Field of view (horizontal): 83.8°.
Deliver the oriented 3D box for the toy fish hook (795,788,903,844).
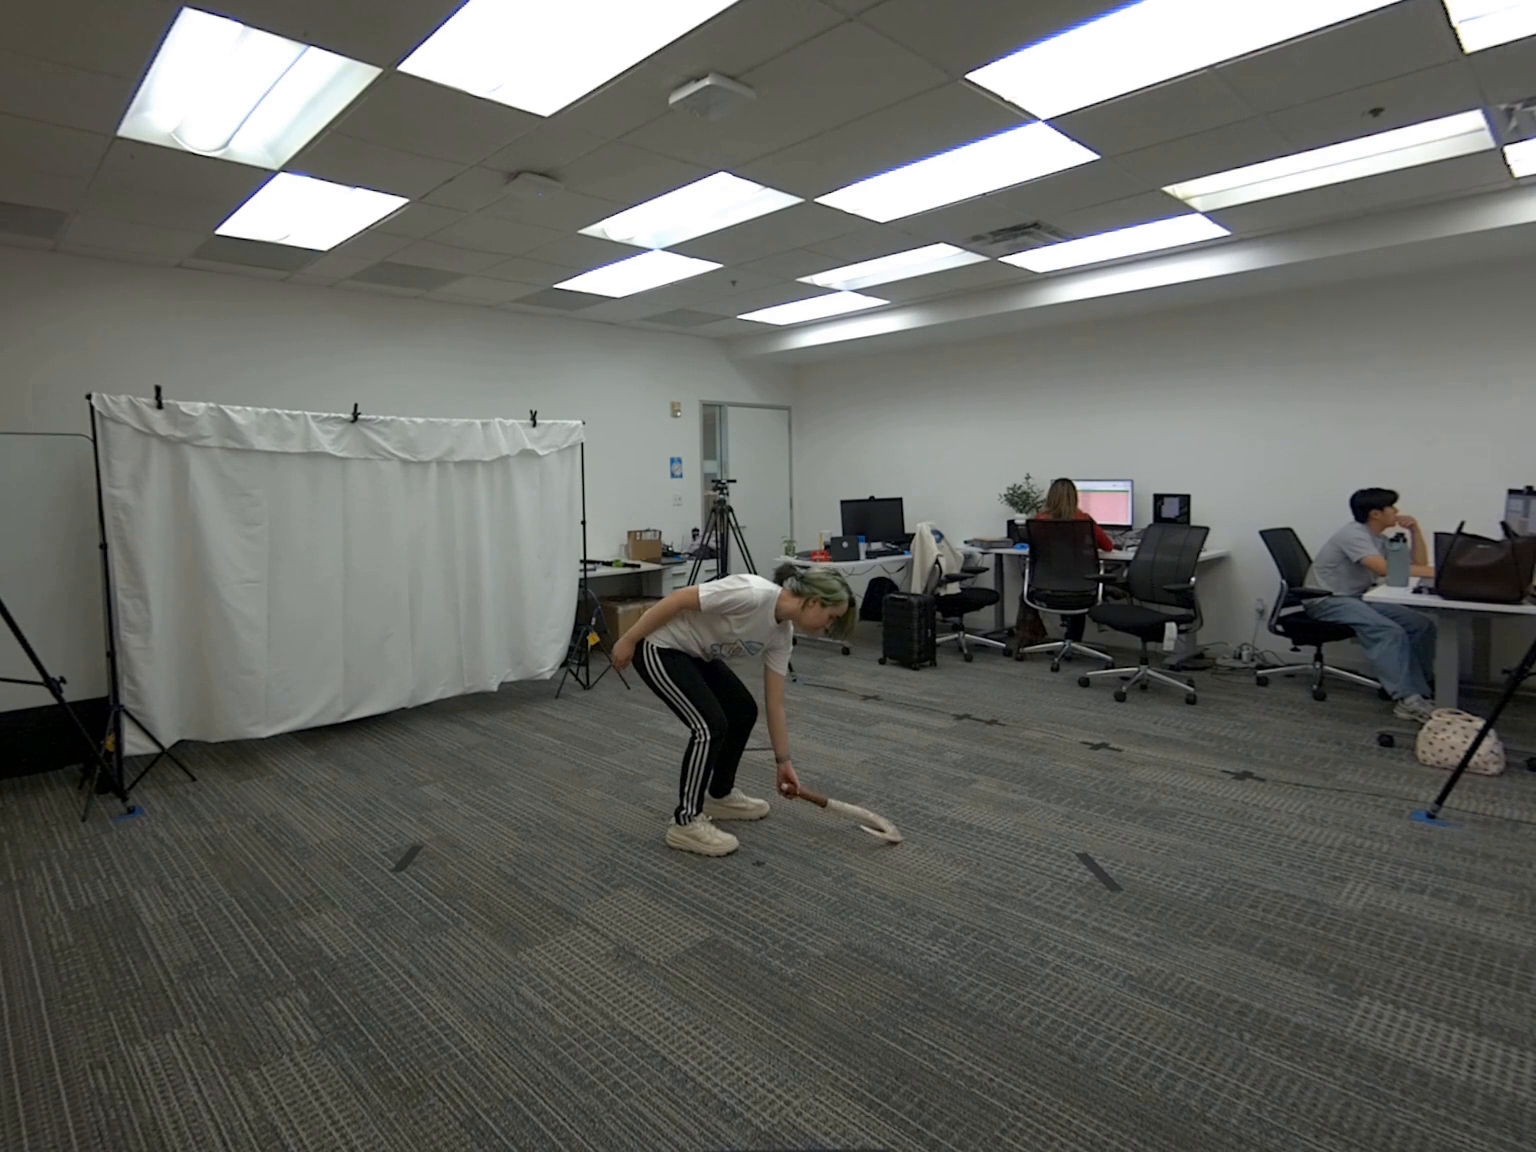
[{"bbox_3d":[0.289,0.911,3.298,0.503,0.048,0.226,21,0,-7],"label":"toy fish hook"}]
